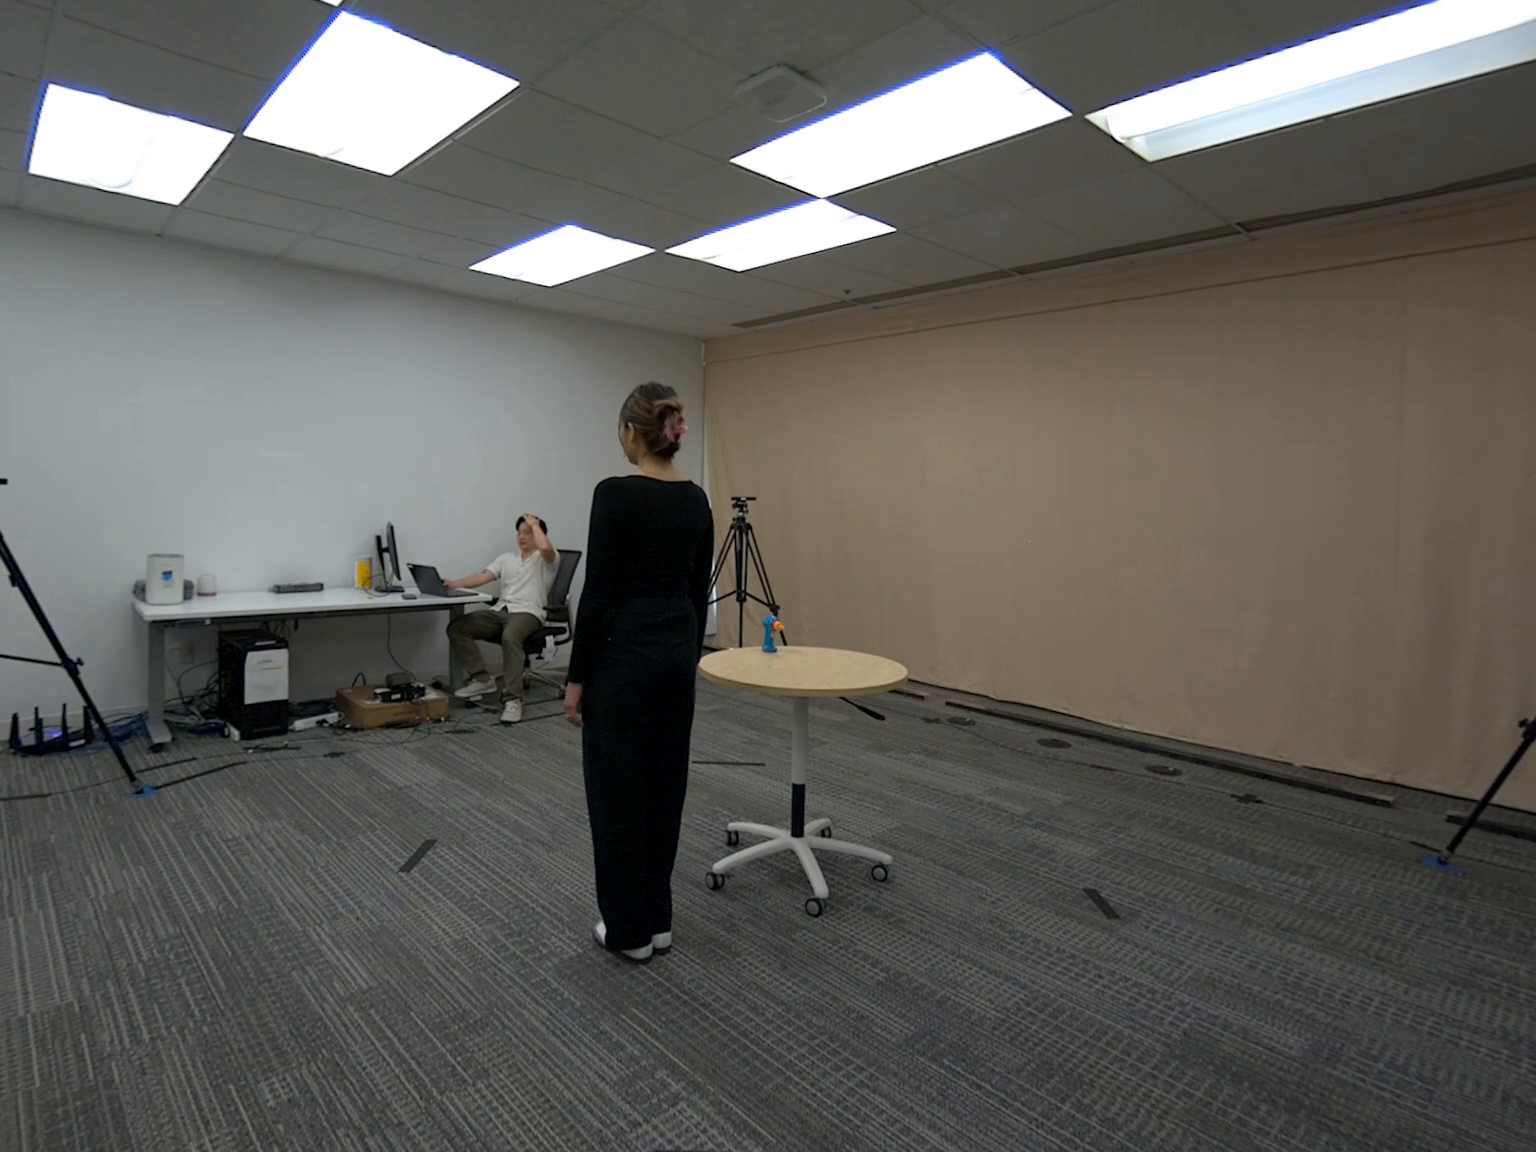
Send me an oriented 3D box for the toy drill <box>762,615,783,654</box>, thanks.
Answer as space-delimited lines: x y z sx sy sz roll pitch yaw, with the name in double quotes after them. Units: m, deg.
0.015 0.233 3.324 0.060 0.145 0.173 1 5 -24 "toy drill"
